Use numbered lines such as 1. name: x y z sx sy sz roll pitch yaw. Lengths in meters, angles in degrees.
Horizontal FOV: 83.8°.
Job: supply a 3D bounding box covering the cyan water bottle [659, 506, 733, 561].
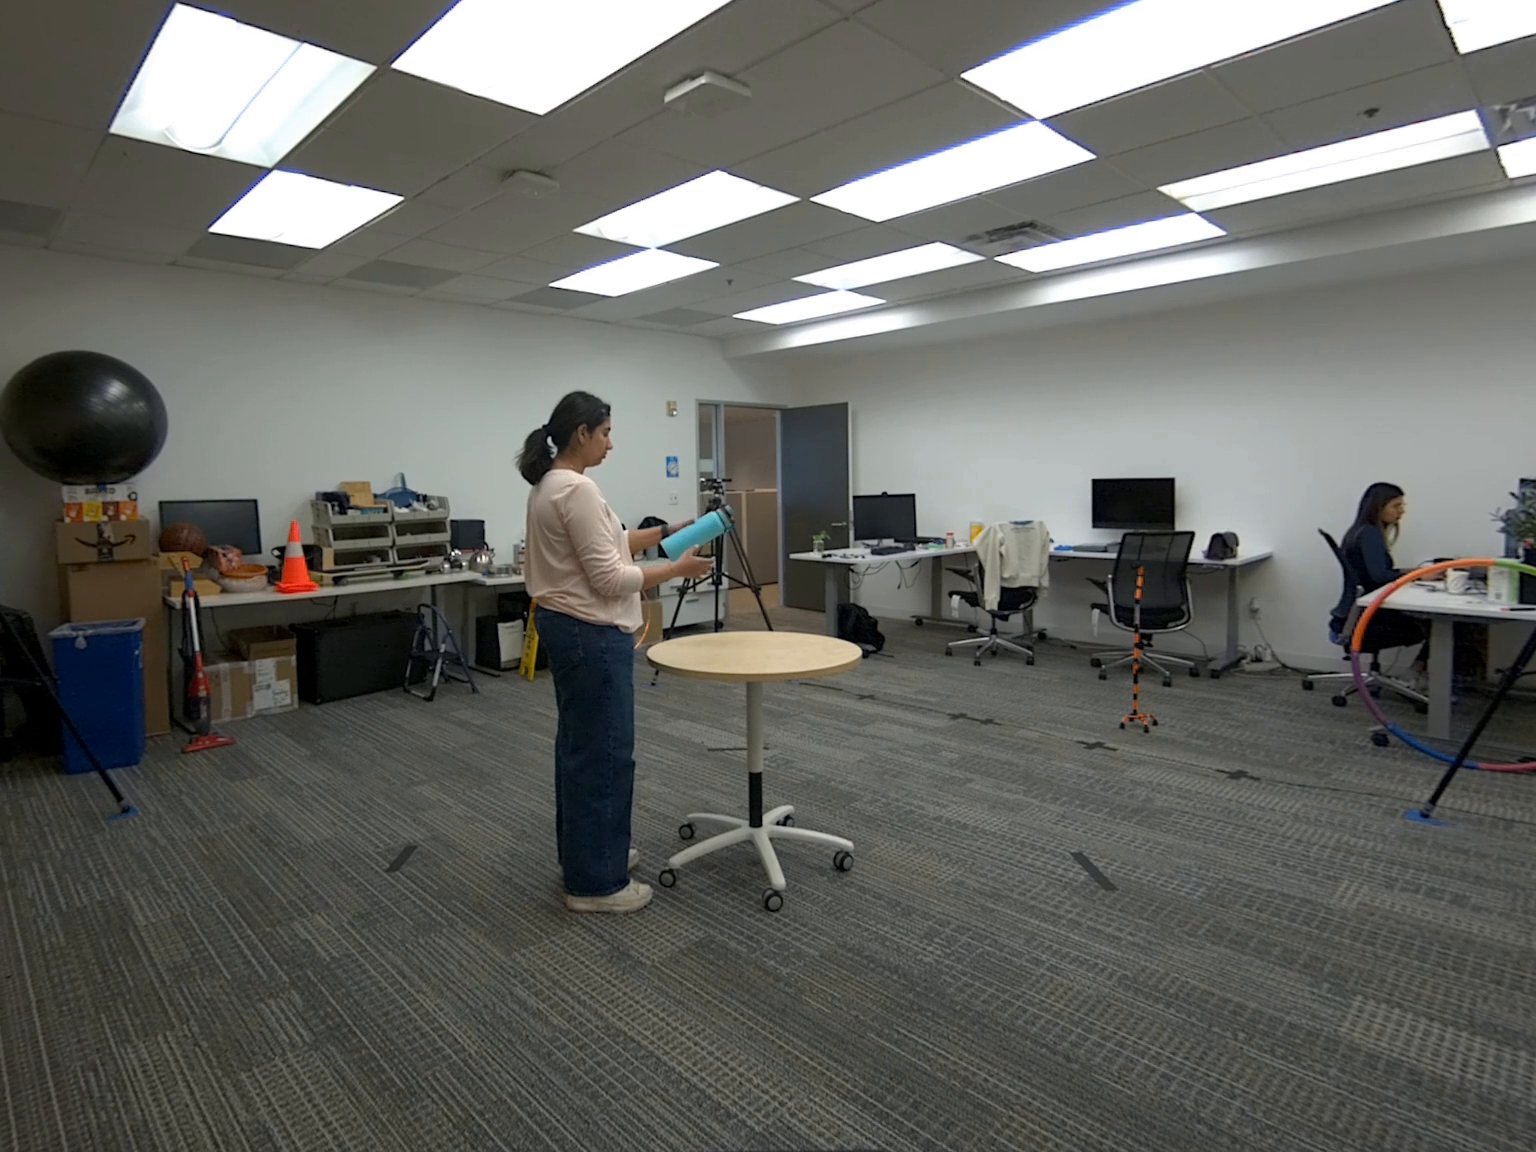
1. cyan water bottle: -0.251 -0.146 3.076 0.283 0.091 0.093 -31 9 -6
